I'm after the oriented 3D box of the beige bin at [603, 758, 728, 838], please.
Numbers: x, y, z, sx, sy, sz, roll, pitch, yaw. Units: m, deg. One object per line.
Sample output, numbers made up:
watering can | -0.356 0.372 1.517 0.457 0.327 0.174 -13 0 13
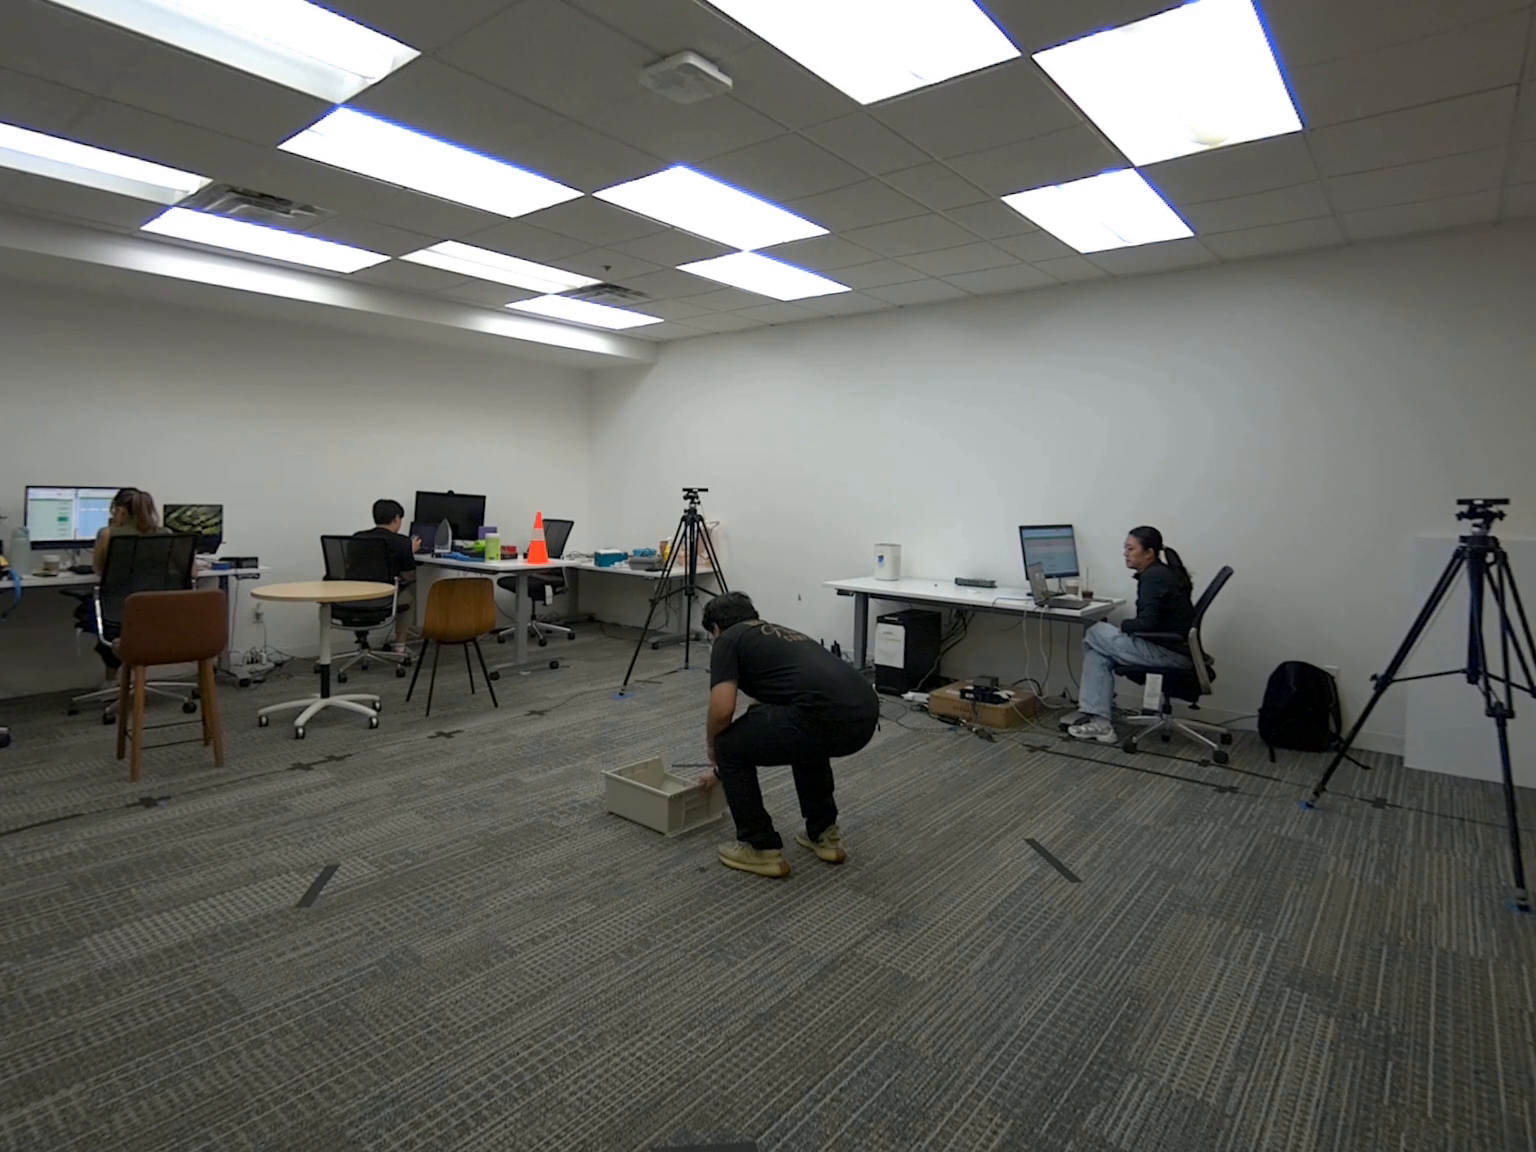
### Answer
beige bin | -0.447 0.926 3.643 0.437 0.188 0.366 6 8 40
